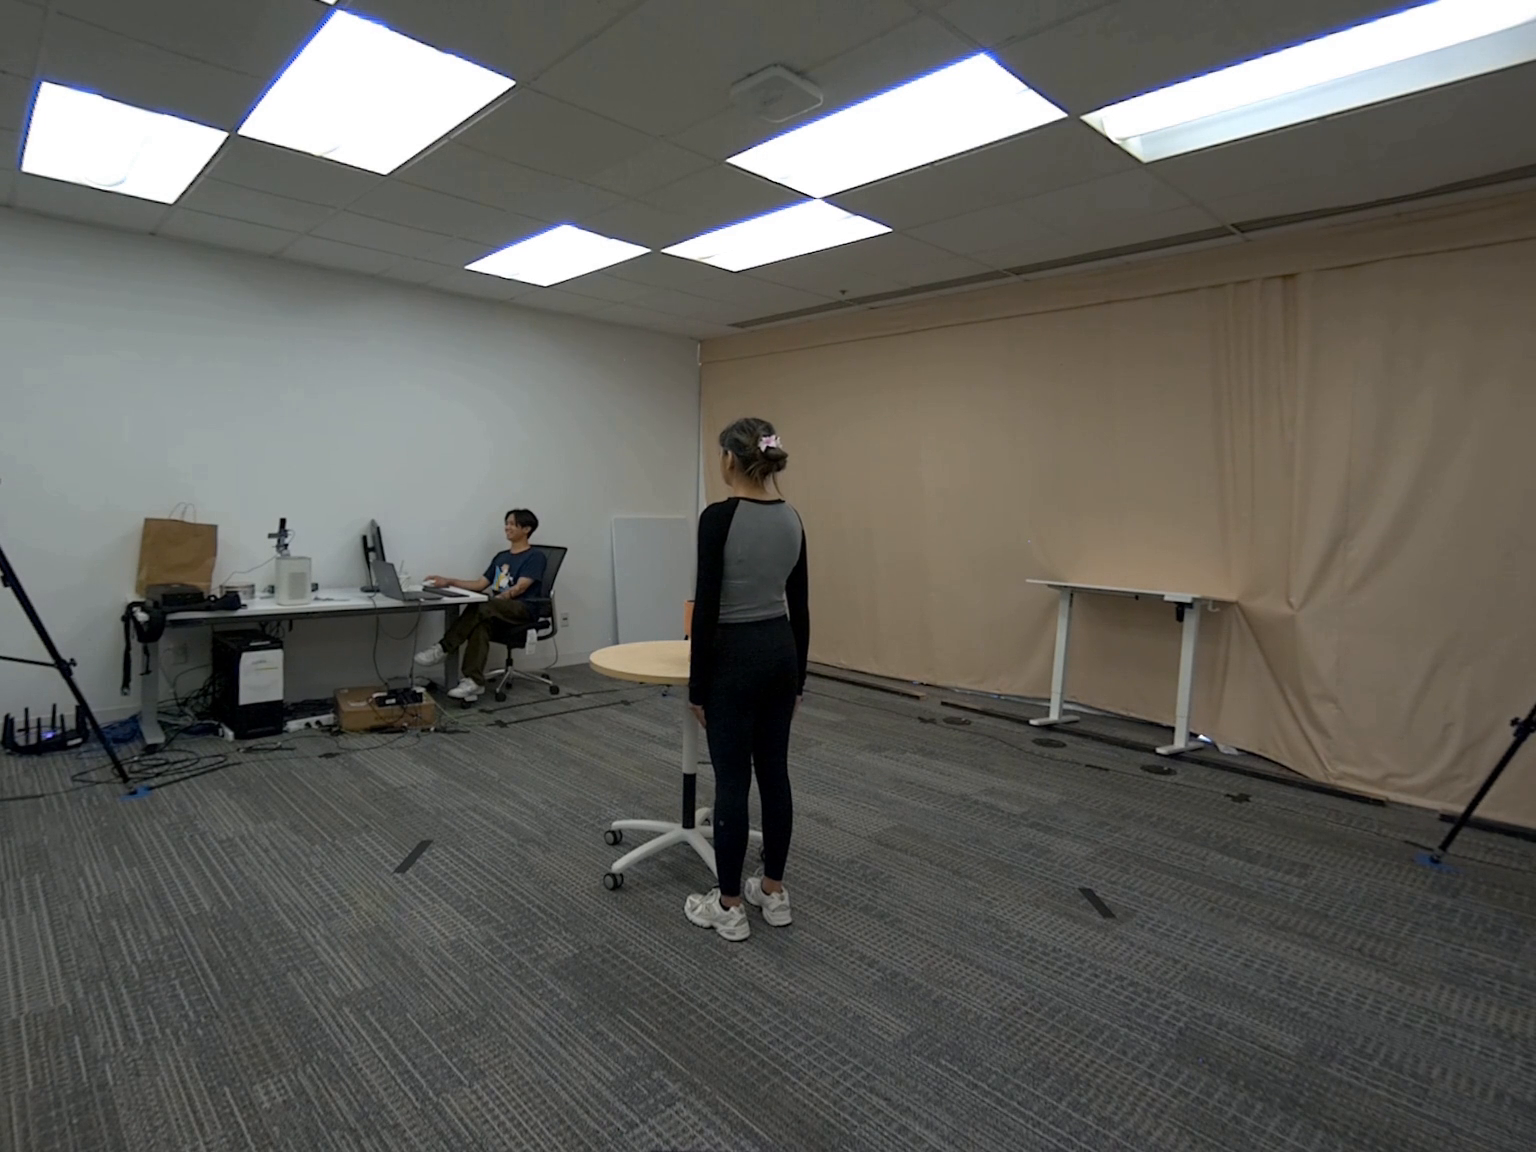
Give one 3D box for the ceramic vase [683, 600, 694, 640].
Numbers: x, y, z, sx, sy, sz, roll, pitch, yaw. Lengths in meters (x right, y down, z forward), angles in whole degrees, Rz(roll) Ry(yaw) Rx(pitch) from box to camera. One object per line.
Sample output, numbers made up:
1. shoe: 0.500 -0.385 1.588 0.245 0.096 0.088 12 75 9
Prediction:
1. ceramic vase: -0.249 0.208 3.083 0.138 0.219 0.155 5 4 41
